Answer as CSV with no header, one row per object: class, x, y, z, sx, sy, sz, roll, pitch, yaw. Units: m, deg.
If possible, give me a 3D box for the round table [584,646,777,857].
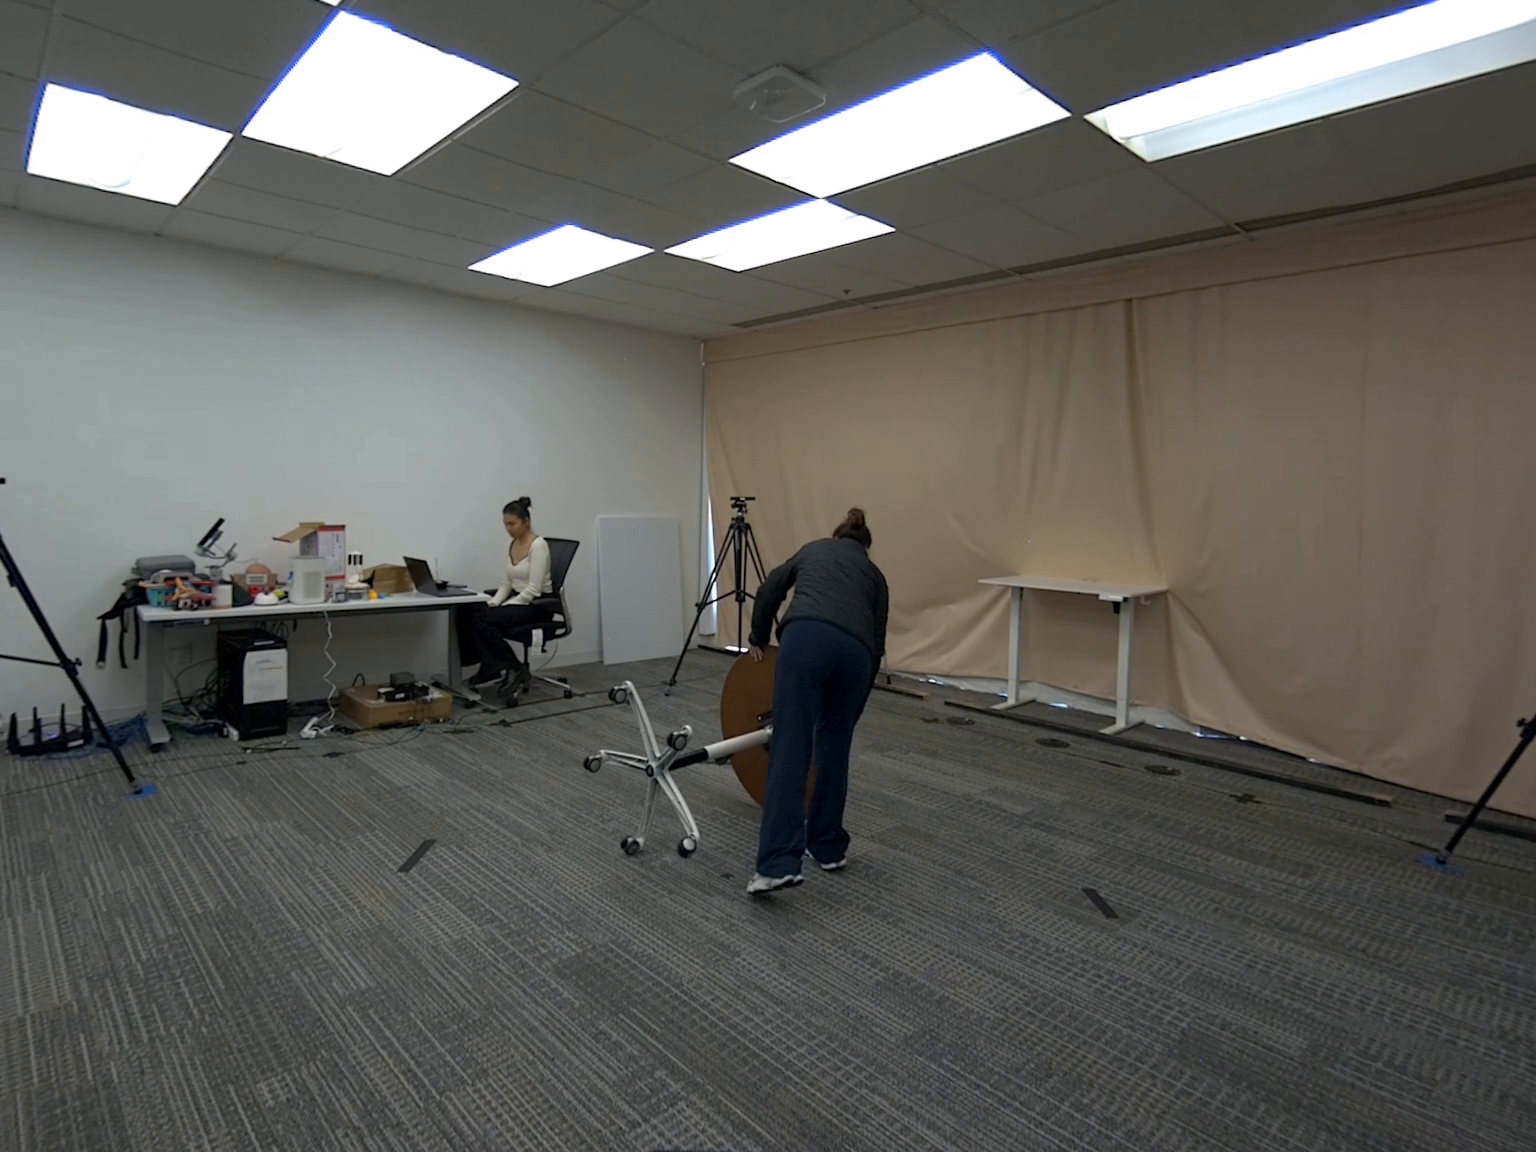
round table,-0.231,0.711,3.411,0.769,0.782,0.805,-5,7,-43
